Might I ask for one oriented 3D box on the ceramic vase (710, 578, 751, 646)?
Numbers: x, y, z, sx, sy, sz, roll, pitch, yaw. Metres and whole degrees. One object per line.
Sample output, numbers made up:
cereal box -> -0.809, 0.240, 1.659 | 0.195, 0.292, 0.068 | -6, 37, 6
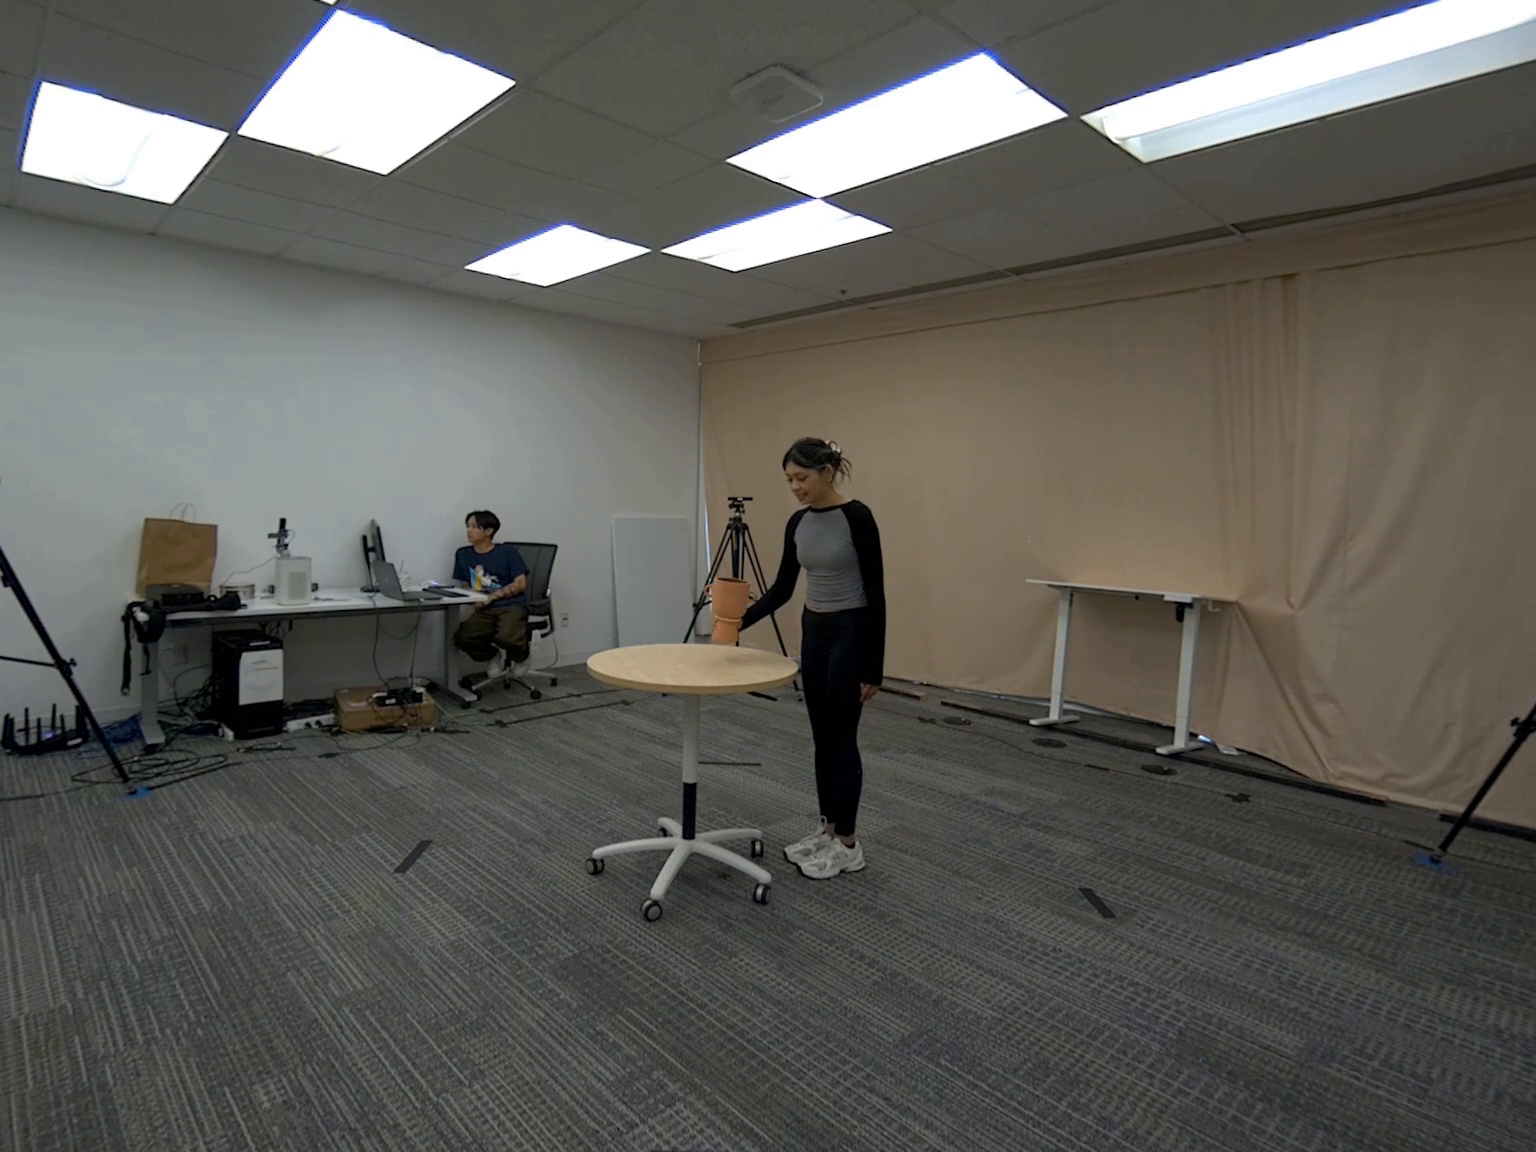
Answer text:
ceramic vase -> -0.153, 0.126, 3.067 | 0.163, 0.219, 0.131 | 12, 7, 44
